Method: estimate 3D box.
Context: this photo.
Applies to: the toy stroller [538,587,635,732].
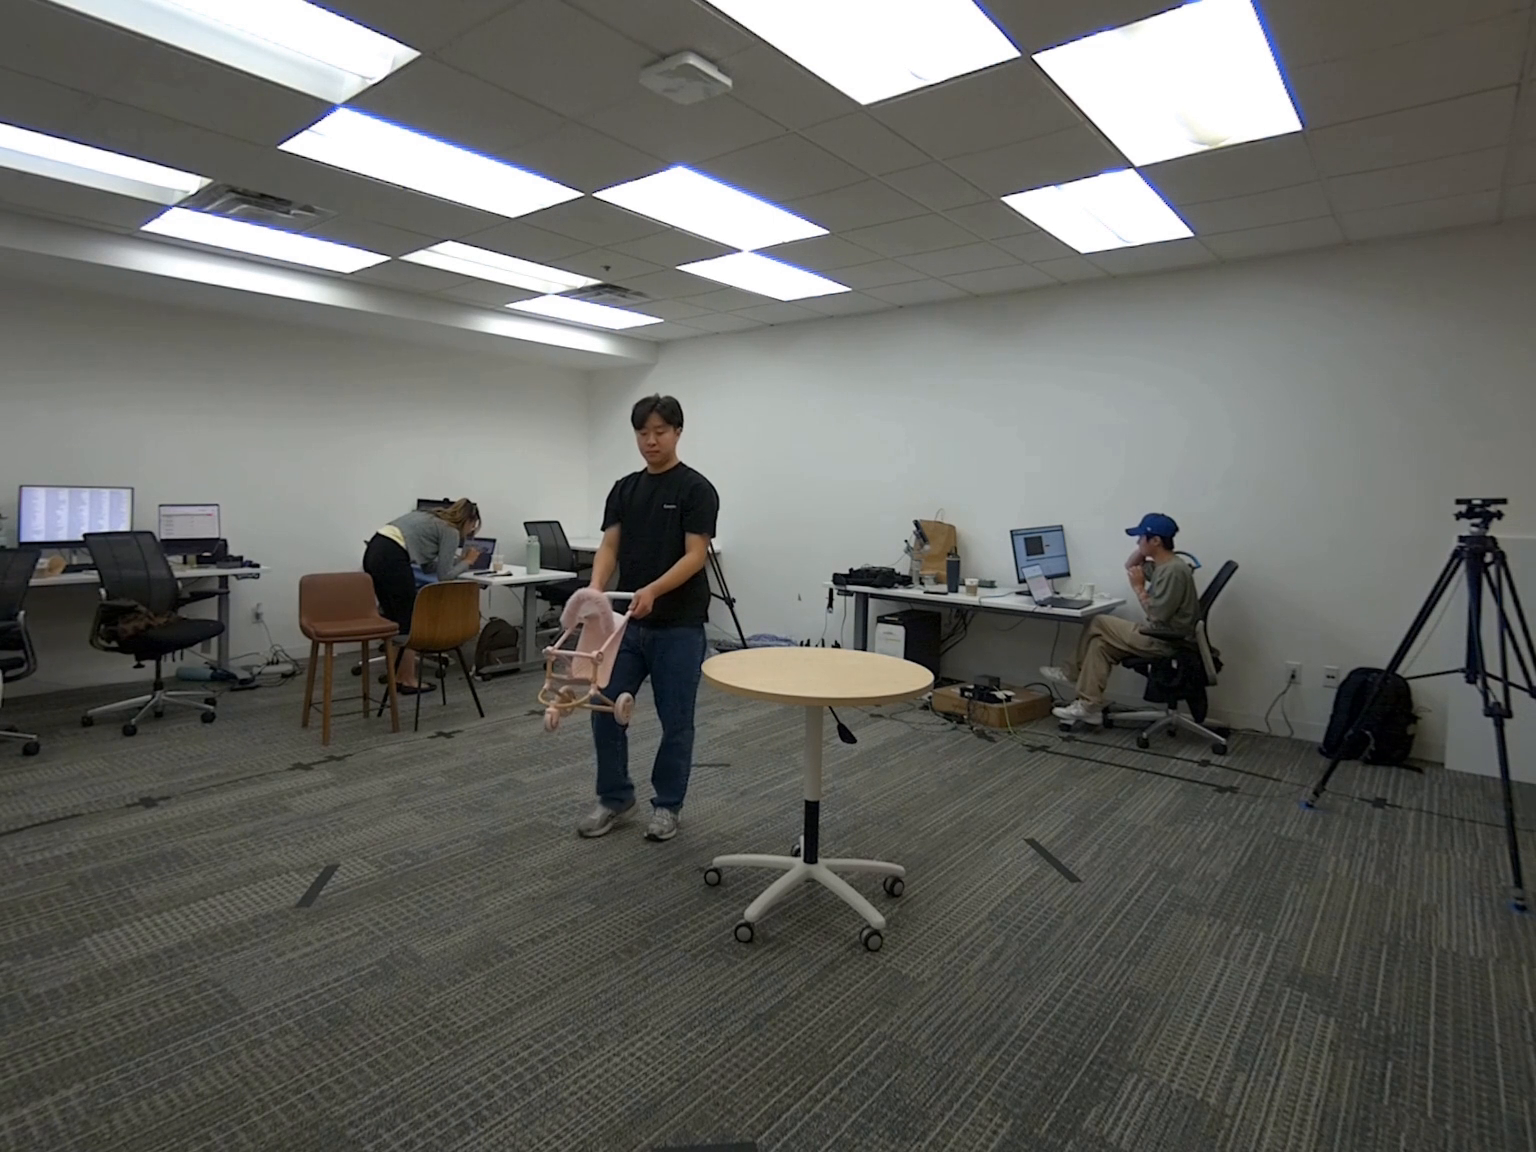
[{"bbox_3d":[-0.648,0.286,2.978,0.289,0.540,0.329,1,-14,28],"label":"toy stroller"}]
